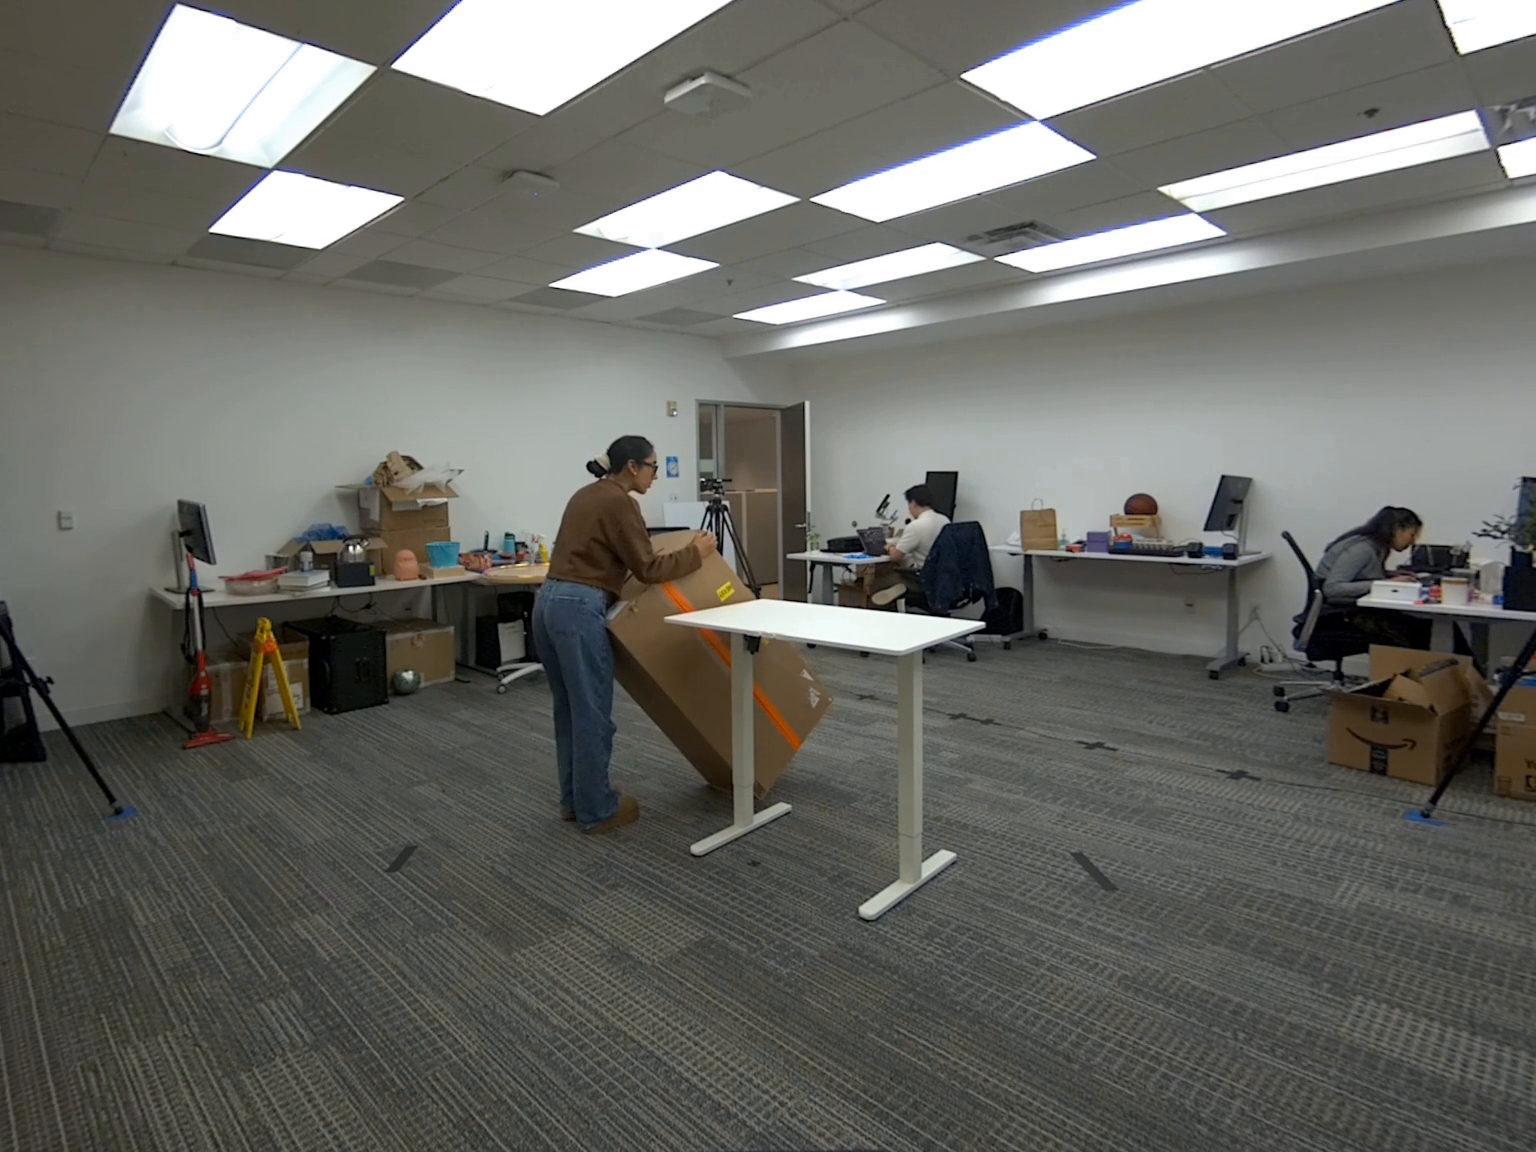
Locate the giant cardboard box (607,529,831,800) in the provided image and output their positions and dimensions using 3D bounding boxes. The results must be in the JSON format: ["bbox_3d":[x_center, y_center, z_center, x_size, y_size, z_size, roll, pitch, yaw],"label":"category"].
[{"bbox_3d":[-0.273,0.388,3.738,0.578,1.002,0.436,-48,22,-27],"label":"giant cardboard box"}]
